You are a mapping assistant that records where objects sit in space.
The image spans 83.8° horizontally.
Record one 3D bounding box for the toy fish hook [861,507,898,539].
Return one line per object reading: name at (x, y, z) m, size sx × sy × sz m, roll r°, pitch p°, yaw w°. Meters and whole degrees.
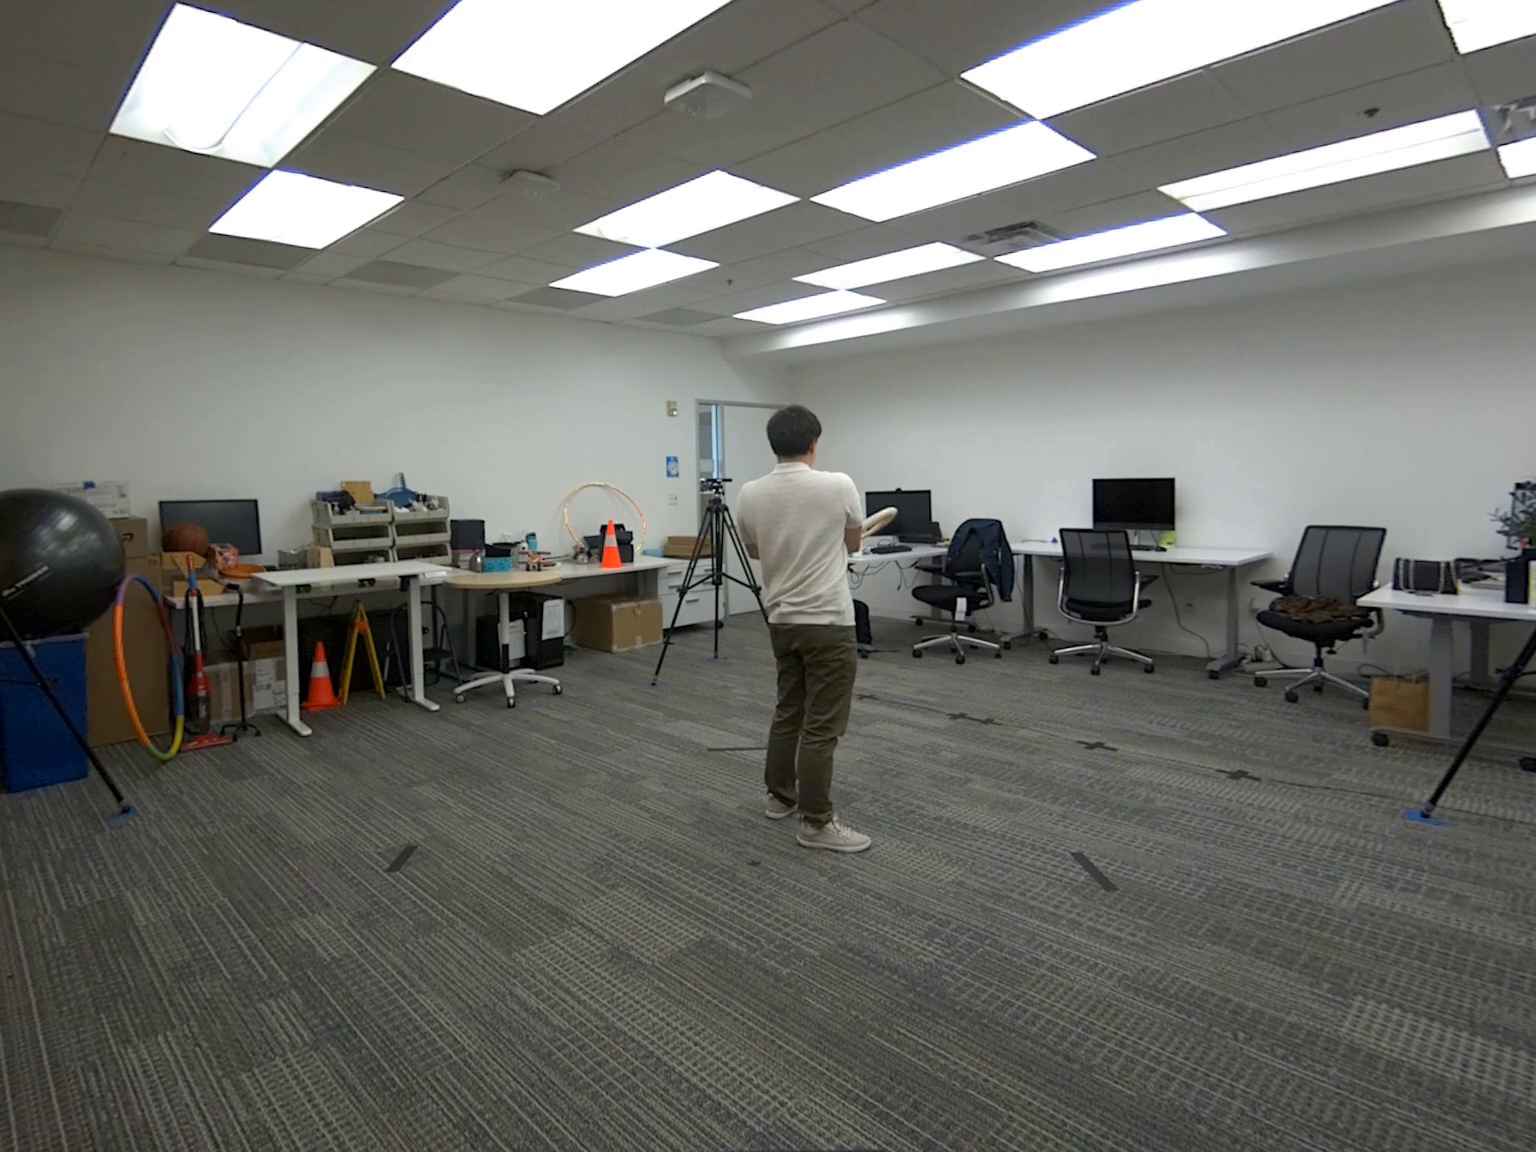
toy fish hook at (0.363, -0.161, 3.798) m, size 0.504 × 0.049 × 0.220 m, roll -29°, pitch -20°, yaw -13°
